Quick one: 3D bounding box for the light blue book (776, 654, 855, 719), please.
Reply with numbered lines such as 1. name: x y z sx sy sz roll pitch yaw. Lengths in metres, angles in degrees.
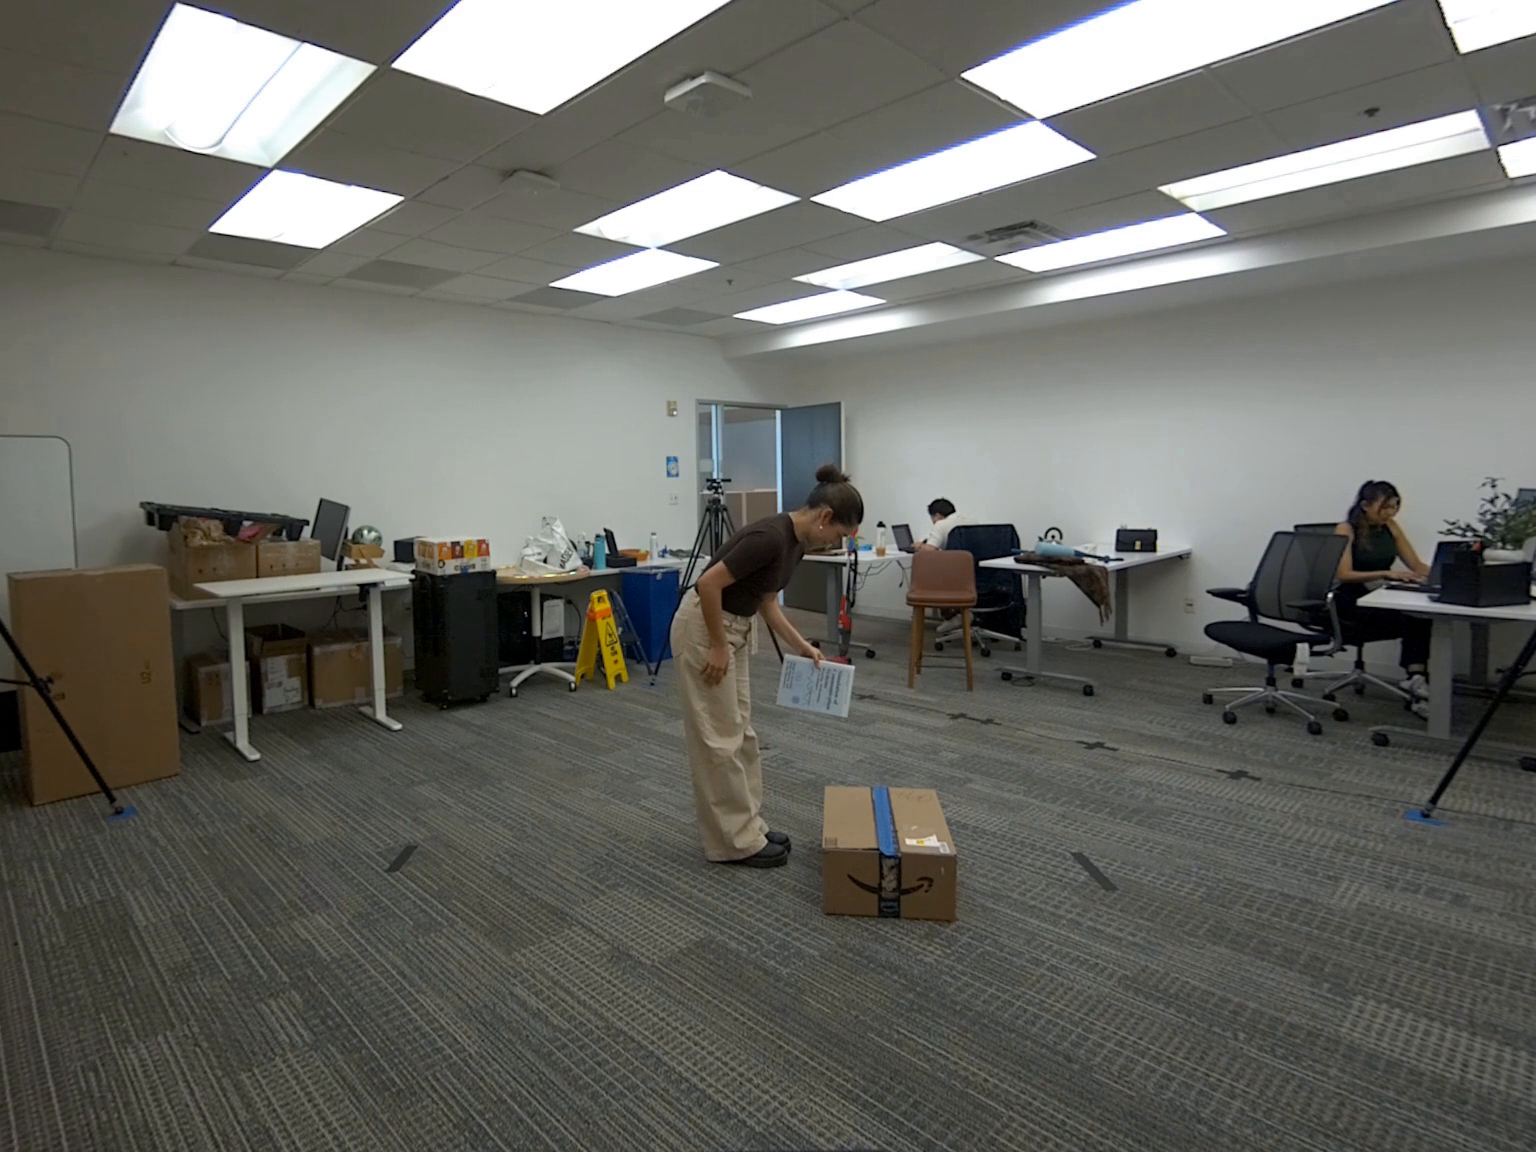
1. light blue book: 0.173 0.399 3.148 0.263 0.192 0.058 10 -8 7
